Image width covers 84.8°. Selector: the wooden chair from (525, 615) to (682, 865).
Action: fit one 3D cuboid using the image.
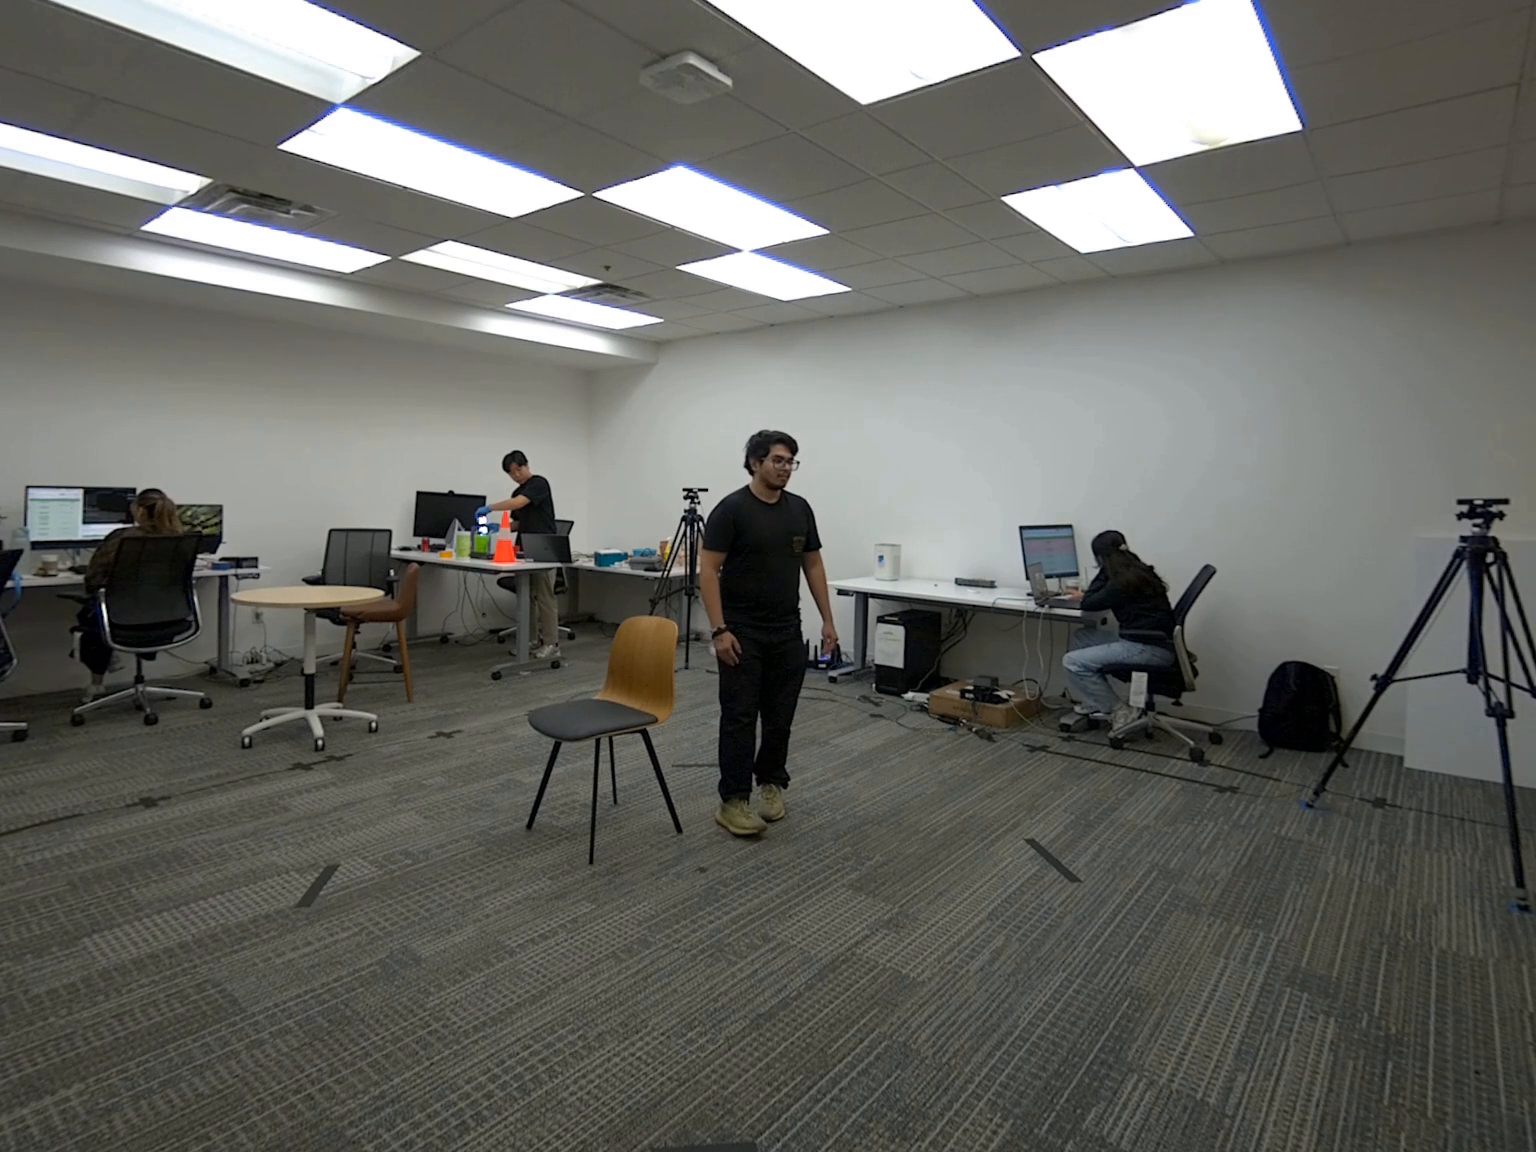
[{"bbox_3d":[-0.667,0.604,3.407,0.494,0.878,0.505,4,0,43],"label":"wooden chair"}]
